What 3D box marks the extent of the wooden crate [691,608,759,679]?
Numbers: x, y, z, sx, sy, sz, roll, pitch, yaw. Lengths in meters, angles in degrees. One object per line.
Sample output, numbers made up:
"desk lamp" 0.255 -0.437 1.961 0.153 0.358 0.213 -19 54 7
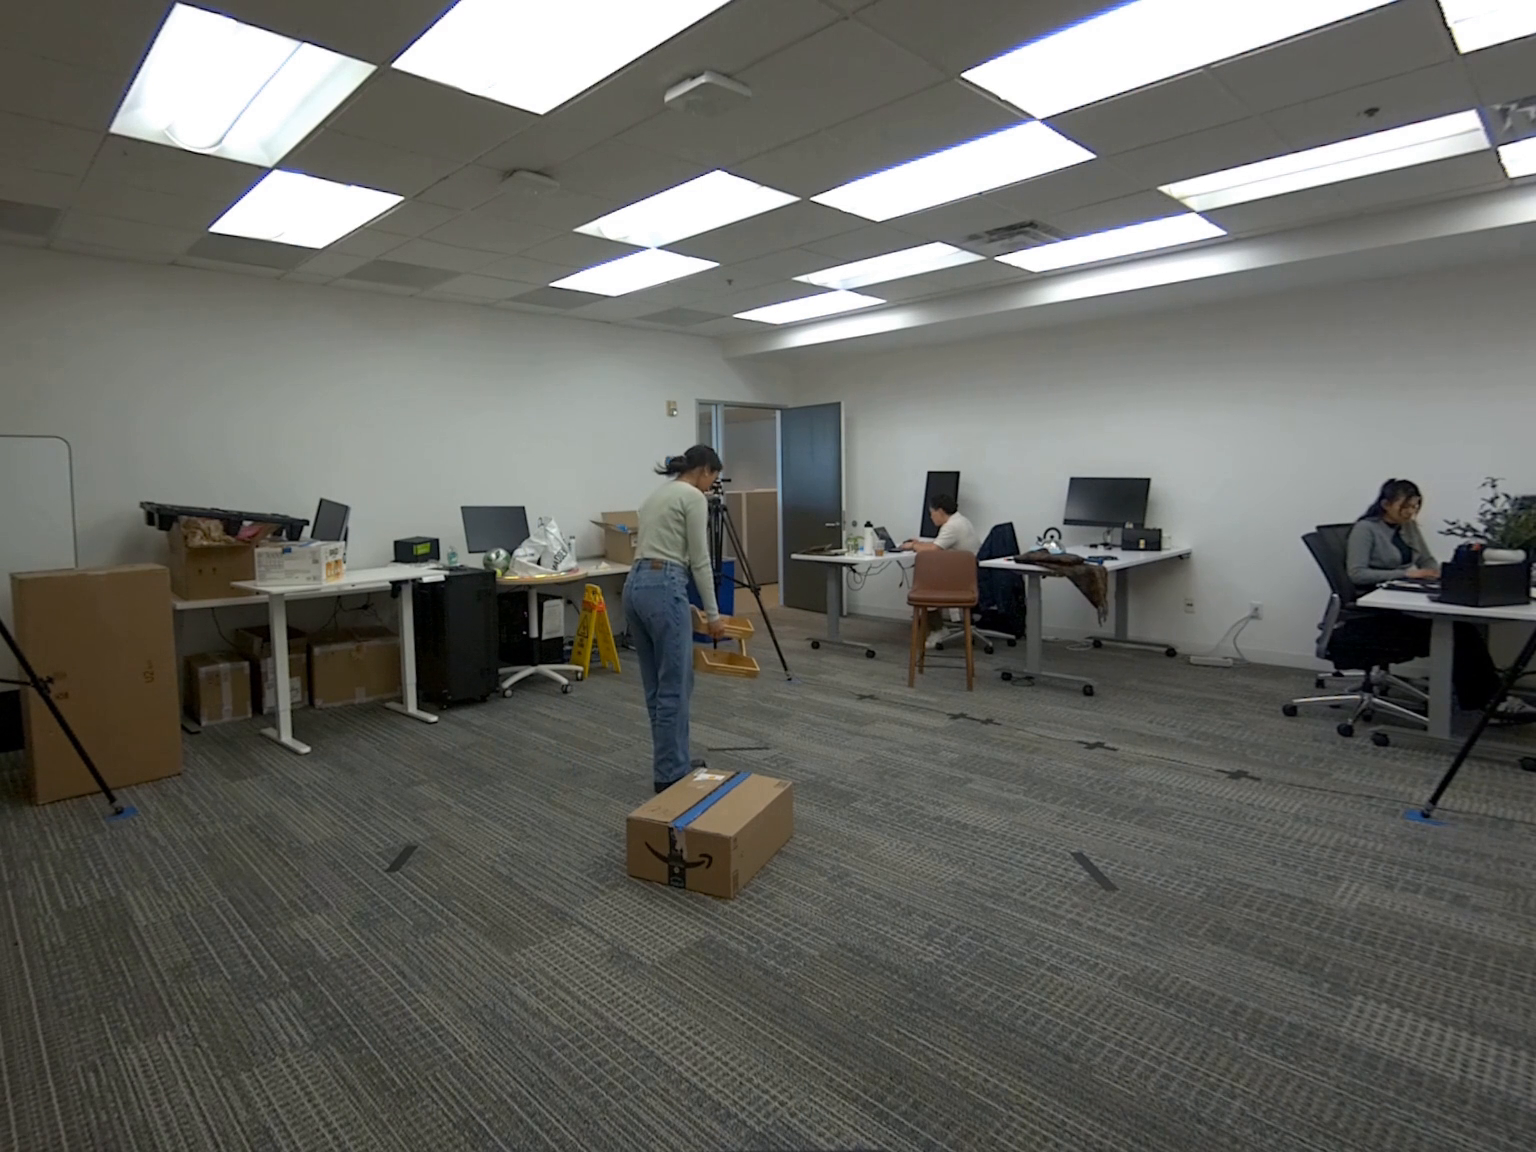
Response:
"wooden crate" -0.228 0.307 3.976 0.314 0.274 0.311 13 -4 -34
